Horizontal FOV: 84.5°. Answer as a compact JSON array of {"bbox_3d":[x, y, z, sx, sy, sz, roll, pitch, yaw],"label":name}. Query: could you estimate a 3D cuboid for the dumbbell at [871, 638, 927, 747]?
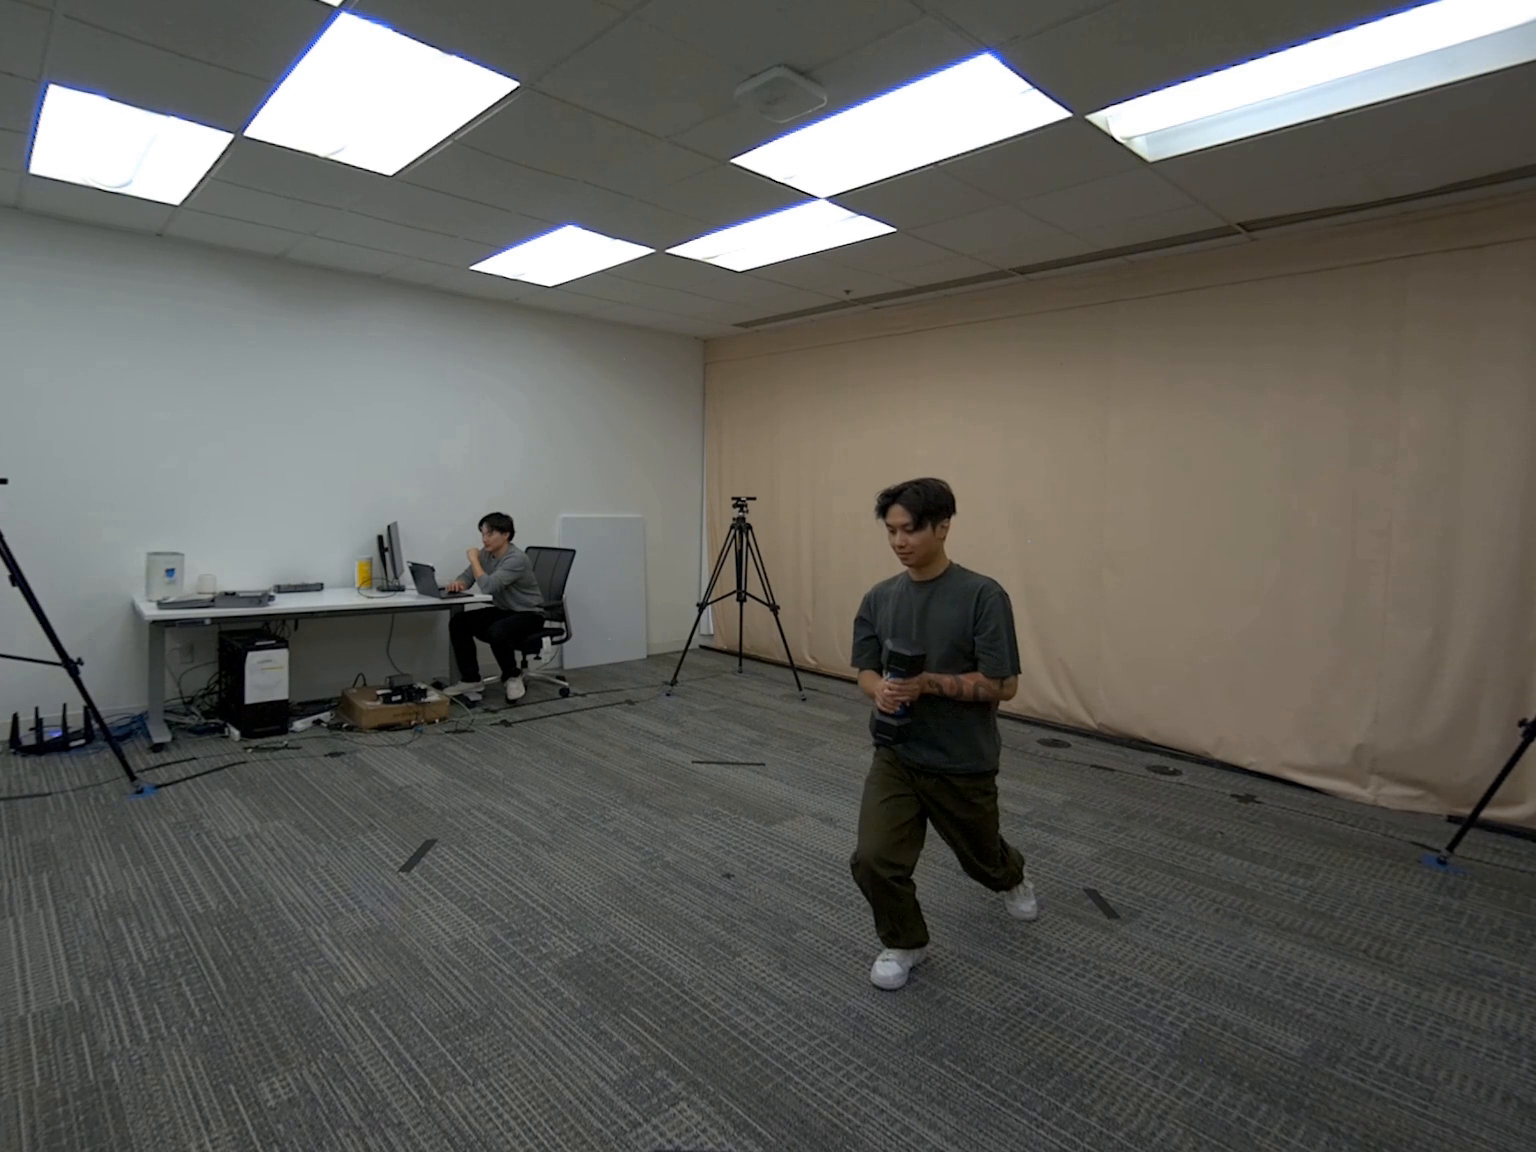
[{"bbox_3d":[0.350,0.307,2.385,0.109,0.290,0.124,8,18,0],"label":"dumbbell"}]
